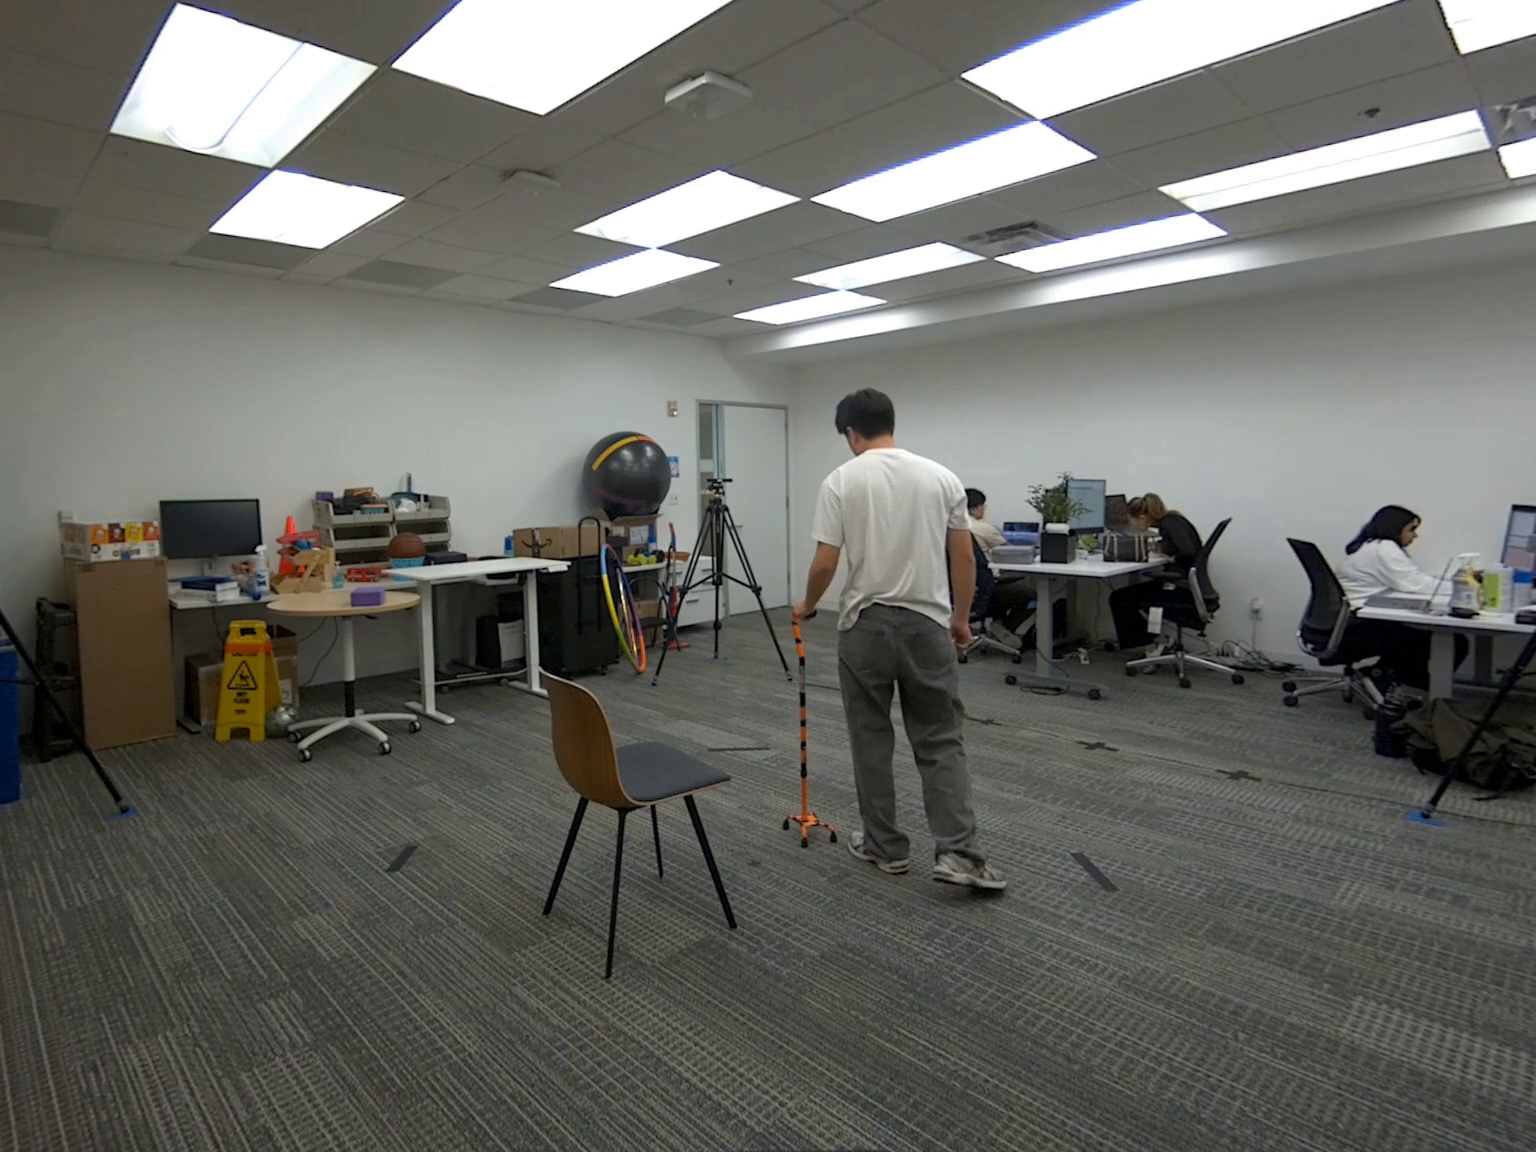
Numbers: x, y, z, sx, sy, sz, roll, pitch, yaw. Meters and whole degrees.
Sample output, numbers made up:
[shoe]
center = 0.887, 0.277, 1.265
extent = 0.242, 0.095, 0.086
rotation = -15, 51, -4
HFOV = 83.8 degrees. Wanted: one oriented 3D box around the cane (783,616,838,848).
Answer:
[cane]
center = 0.151, 0.566, 3.309
extent = 0.149, 0.903, 0.211
rotation = -5, 6, -20
